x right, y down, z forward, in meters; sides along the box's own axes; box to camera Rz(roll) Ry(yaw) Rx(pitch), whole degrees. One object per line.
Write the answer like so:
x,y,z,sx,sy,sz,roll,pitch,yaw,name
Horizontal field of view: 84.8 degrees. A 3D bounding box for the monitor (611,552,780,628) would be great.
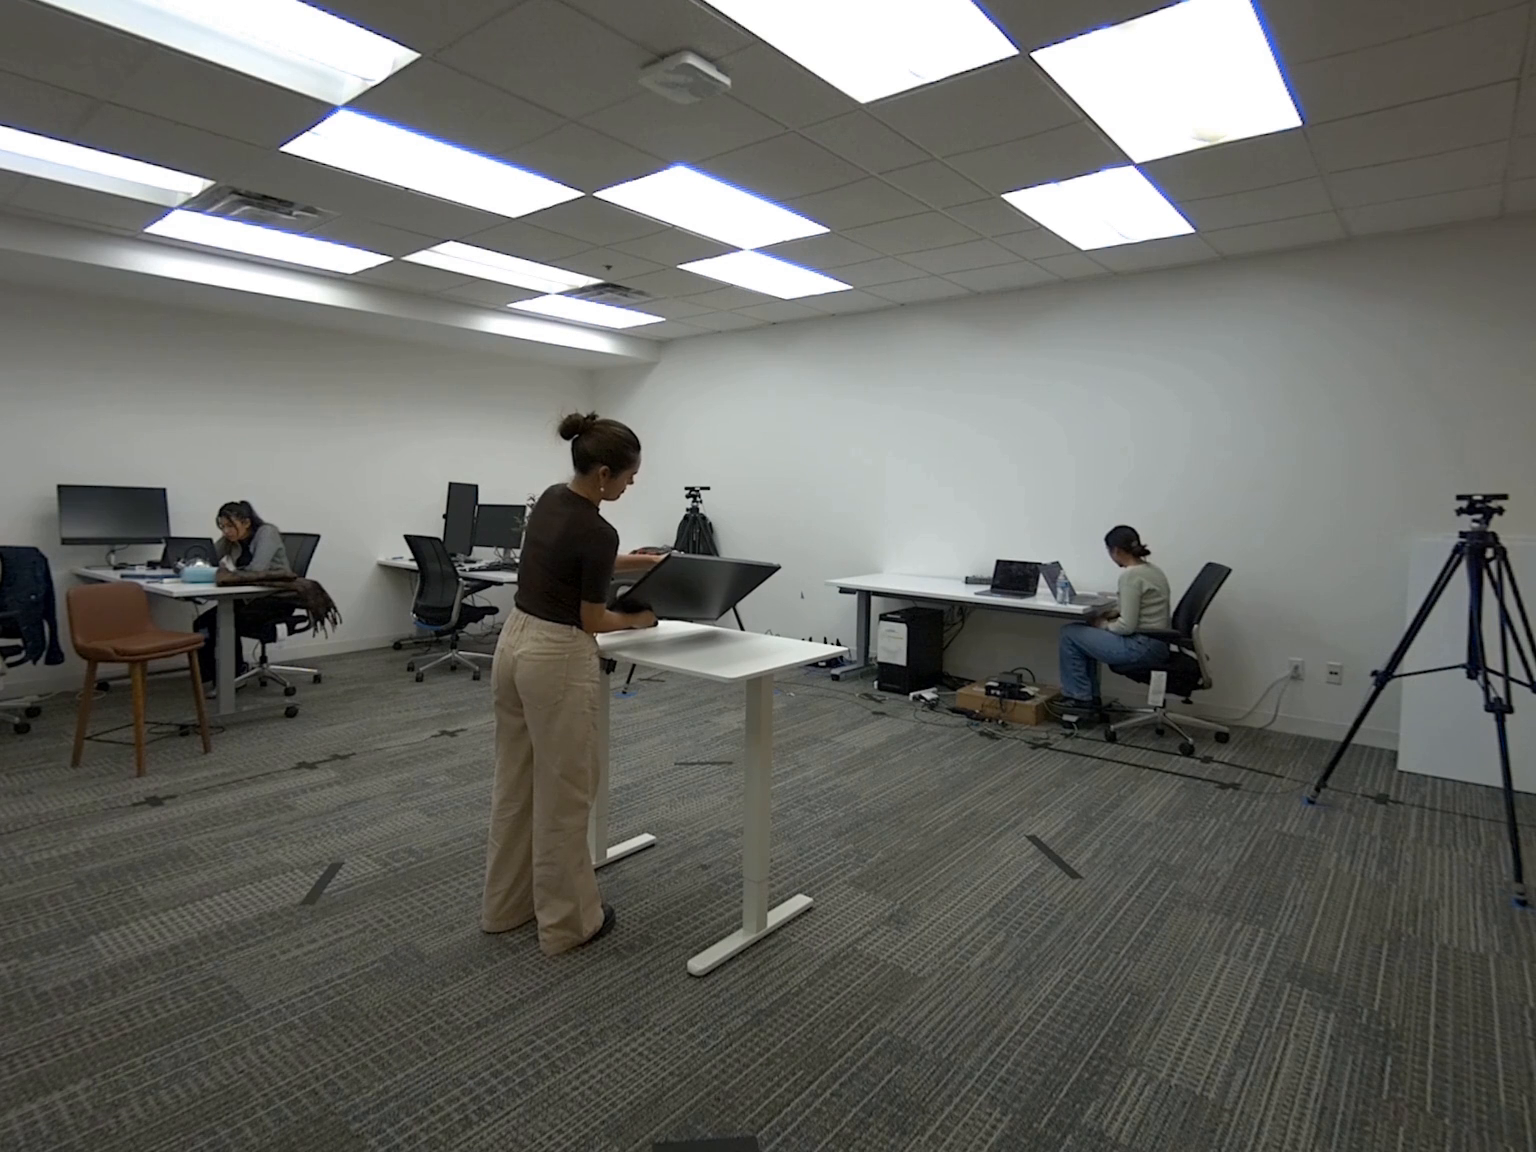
-0.324,0.043,2.851,0.532,0.190,0.522,-20,-13,38,monitor
